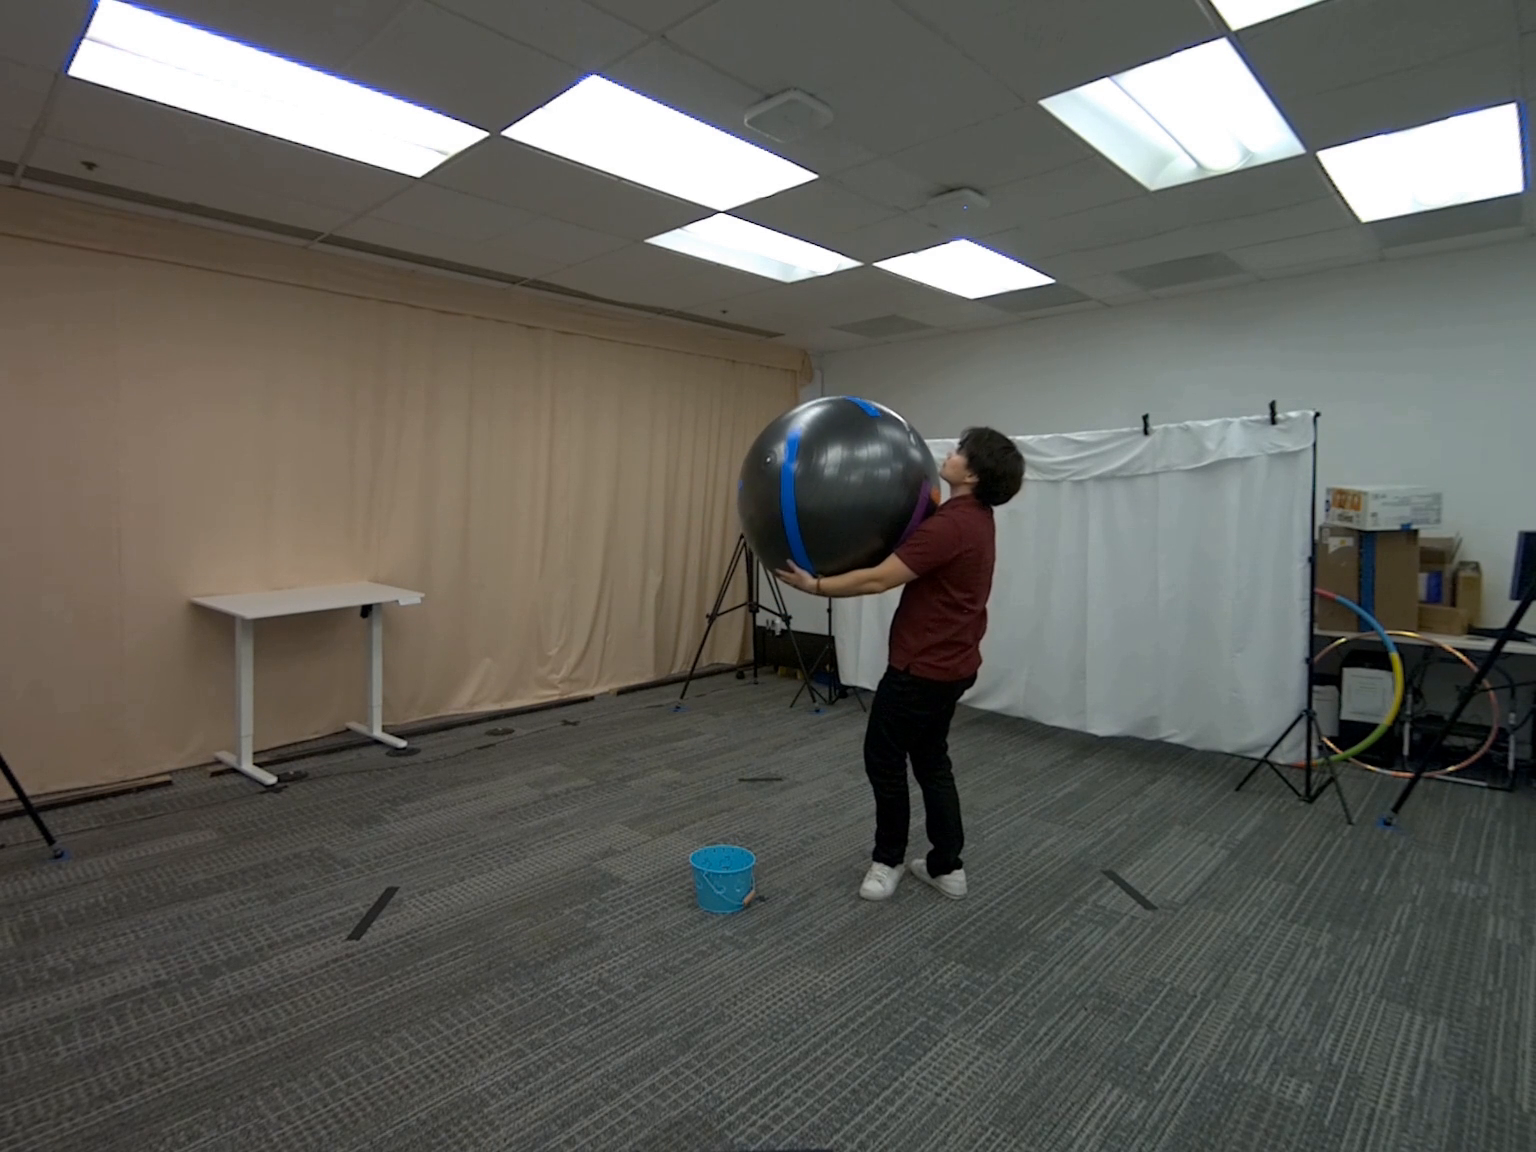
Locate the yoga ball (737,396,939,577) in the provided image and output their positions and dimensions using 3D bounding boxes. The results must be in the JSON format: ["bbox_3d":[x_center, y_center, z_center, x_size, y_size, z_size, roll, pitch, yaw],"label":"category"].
[{"bbox_3d":[0.269,-0.294,3.182,0.757,0.756,0.760,0,4,-2],"label":"yoga ball"}]
